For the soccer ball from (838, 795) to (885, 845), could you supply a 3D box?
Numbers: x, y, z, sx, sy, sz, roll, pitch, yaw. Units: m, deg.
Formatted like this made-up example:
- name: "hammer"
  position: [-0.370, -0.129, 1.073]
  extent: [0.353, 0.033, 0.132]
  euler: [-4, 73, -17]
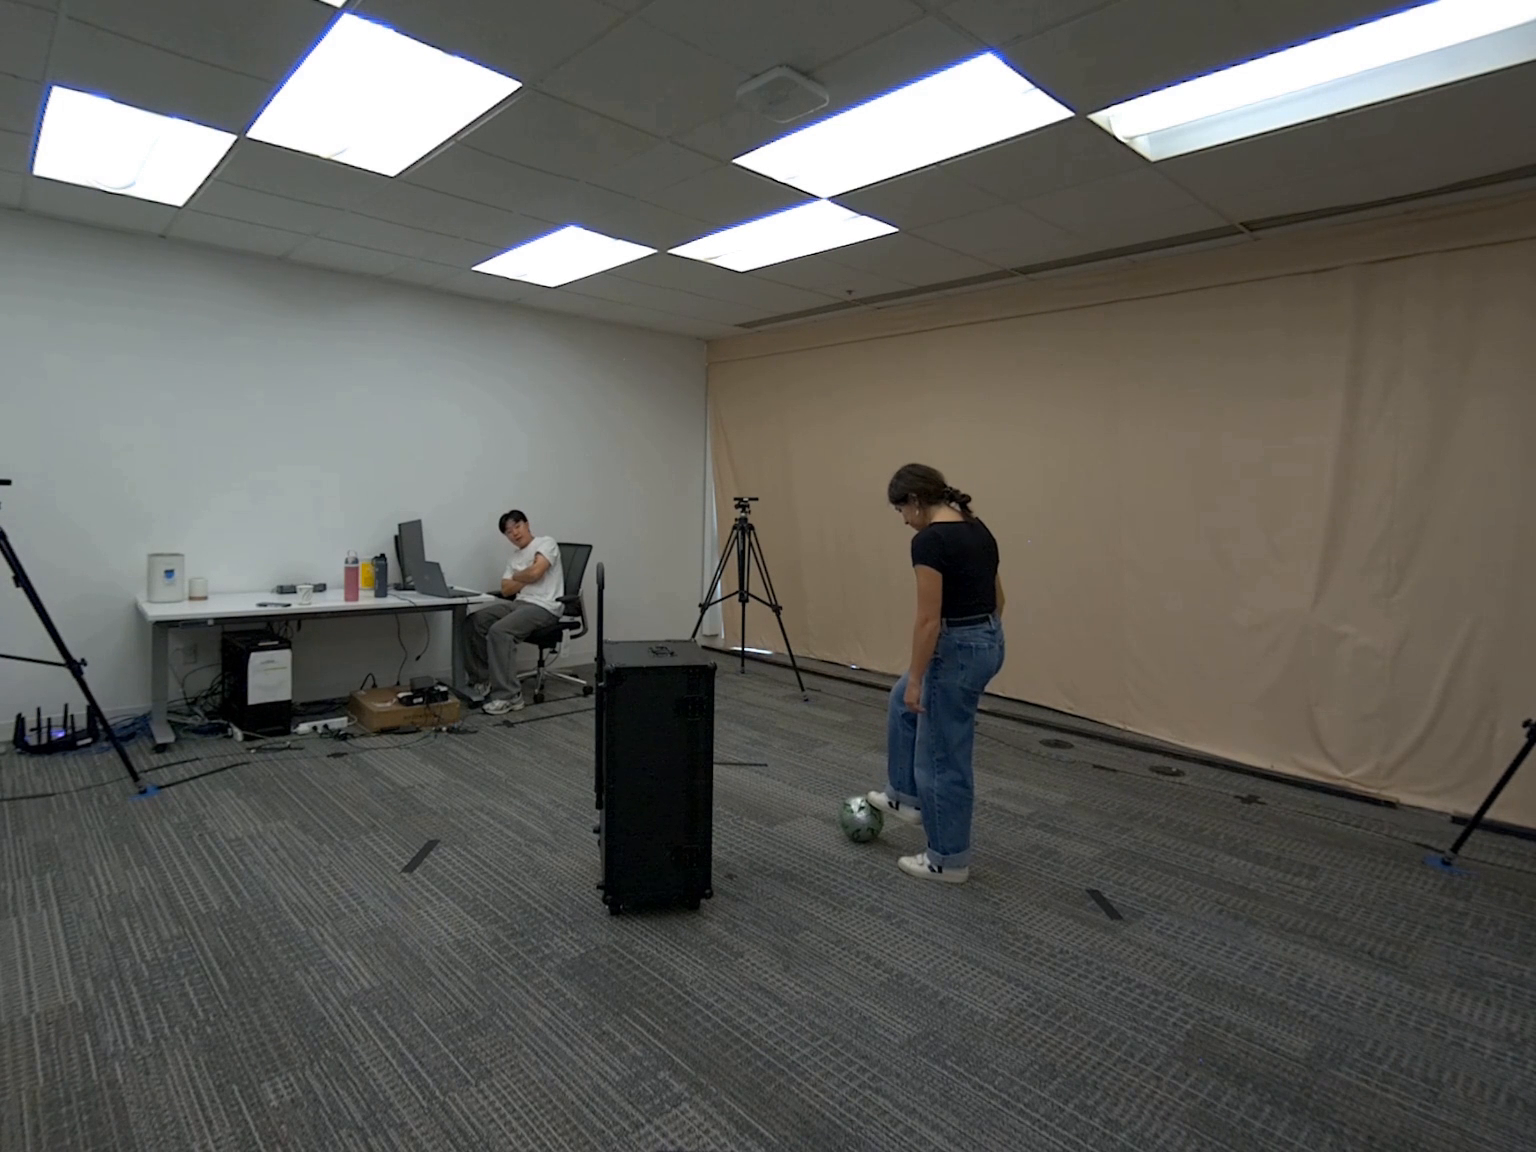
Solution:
- name: "soccer ball"
  position: [0.376, 0.997, 3.470]
  extent: [0.187, 0.187, 0.188]
  euler: [1, 4, -1]
